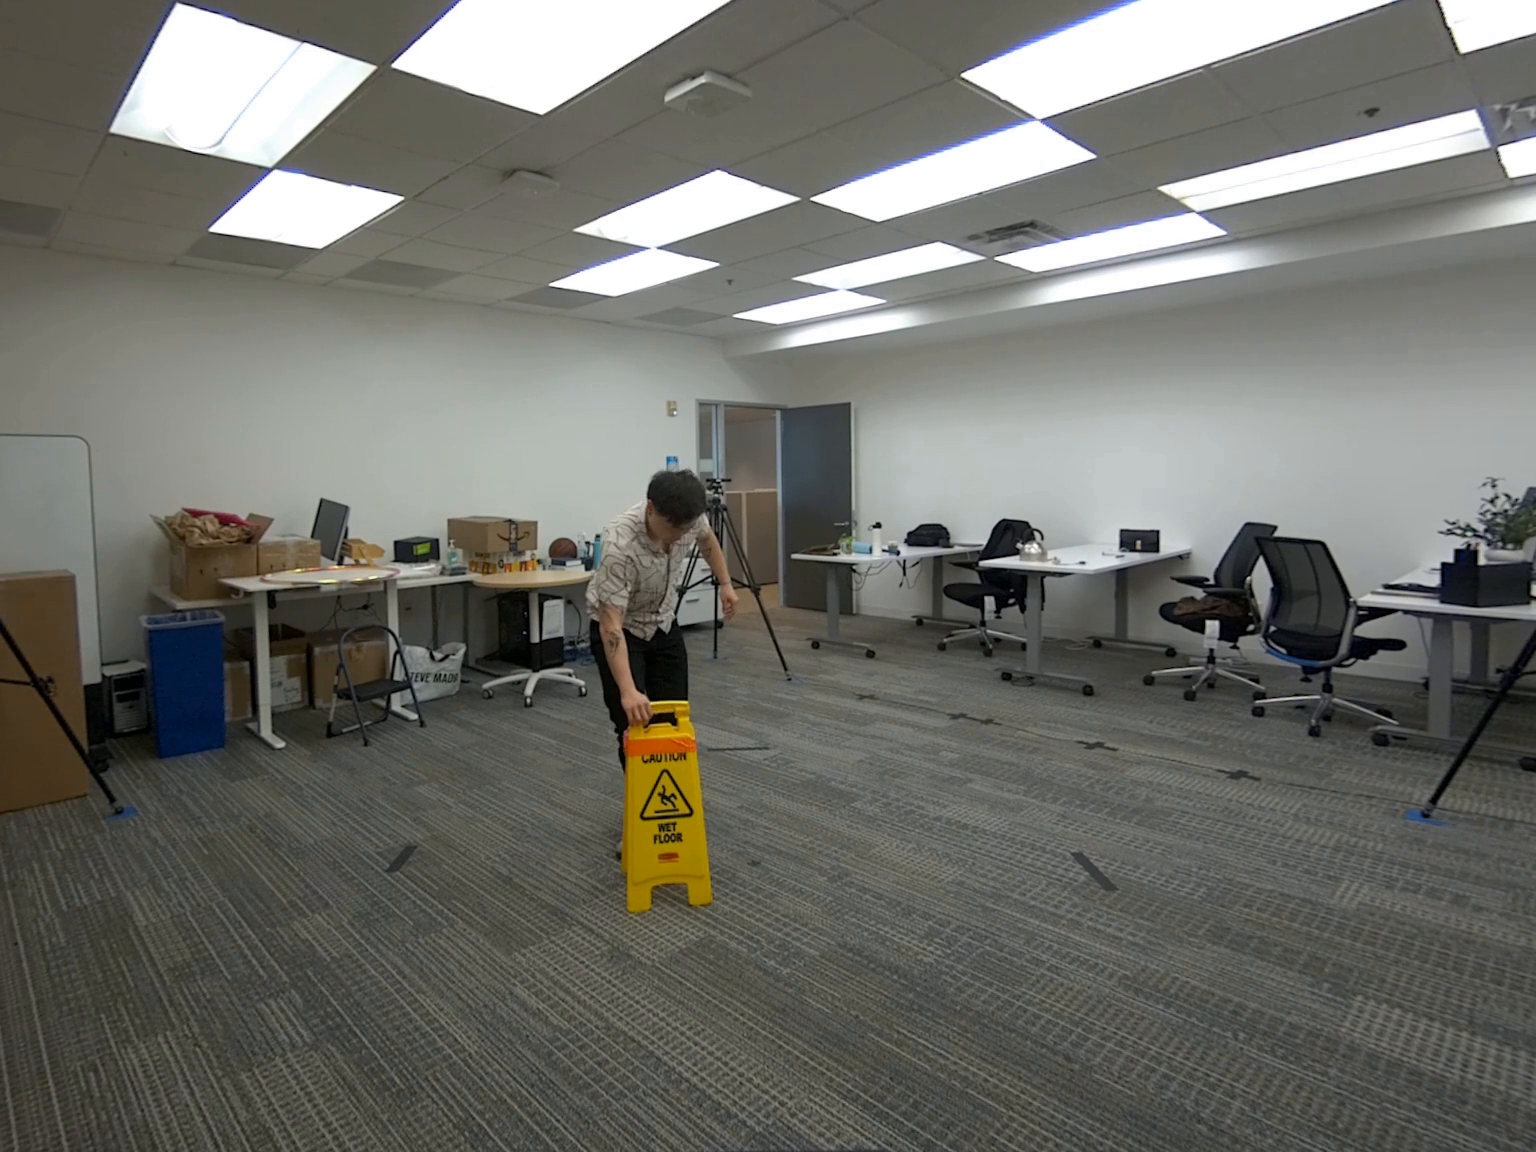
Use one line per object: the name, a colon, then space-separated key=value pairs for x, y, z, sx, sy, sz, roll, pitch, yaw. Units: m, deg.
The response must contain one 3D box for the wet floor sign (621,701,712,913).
wet floor sign: x=-0.355 y=0.745 z=2.912 sx=0.279 sy=0.643 sz=0.294 roll=-3 pitch=5 yaw=-12
